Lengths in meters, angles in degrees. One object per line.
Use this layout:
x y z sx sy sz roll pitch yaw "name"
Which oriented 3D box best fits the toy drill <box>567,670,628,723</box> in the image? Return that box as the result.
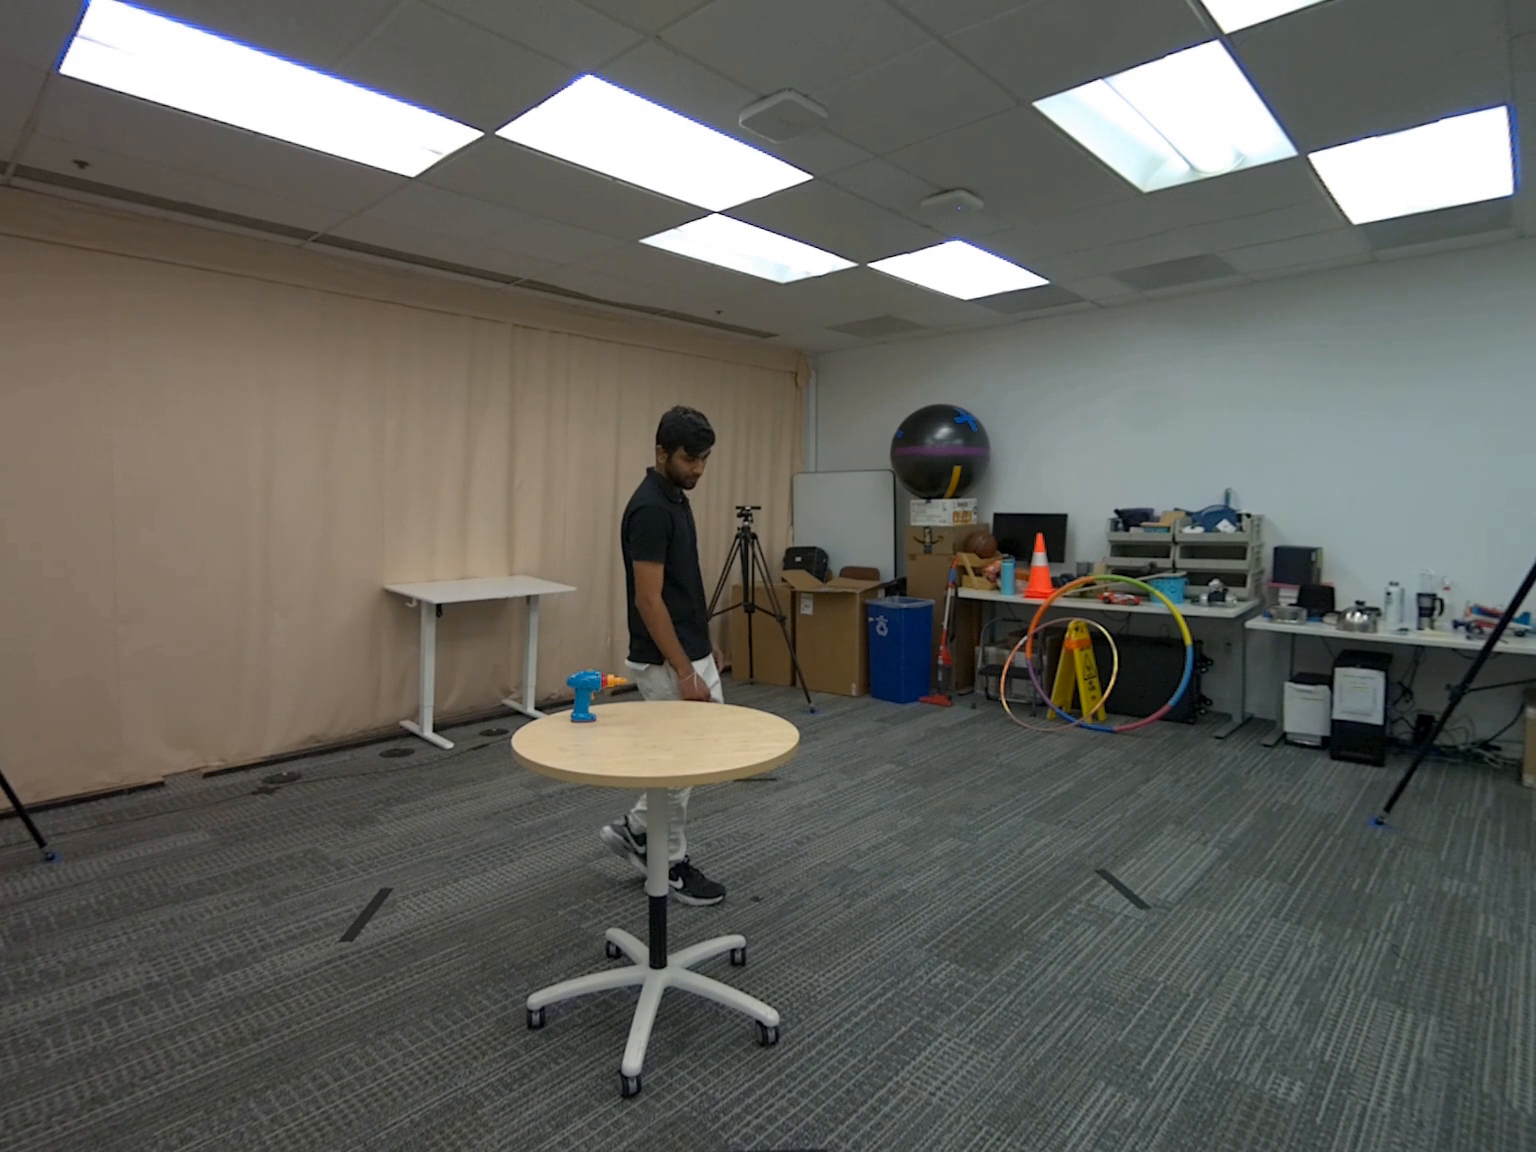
-0.482 0.337 2.404 0.168 0.146 0.062 -1 3 -11 "toy drill"
